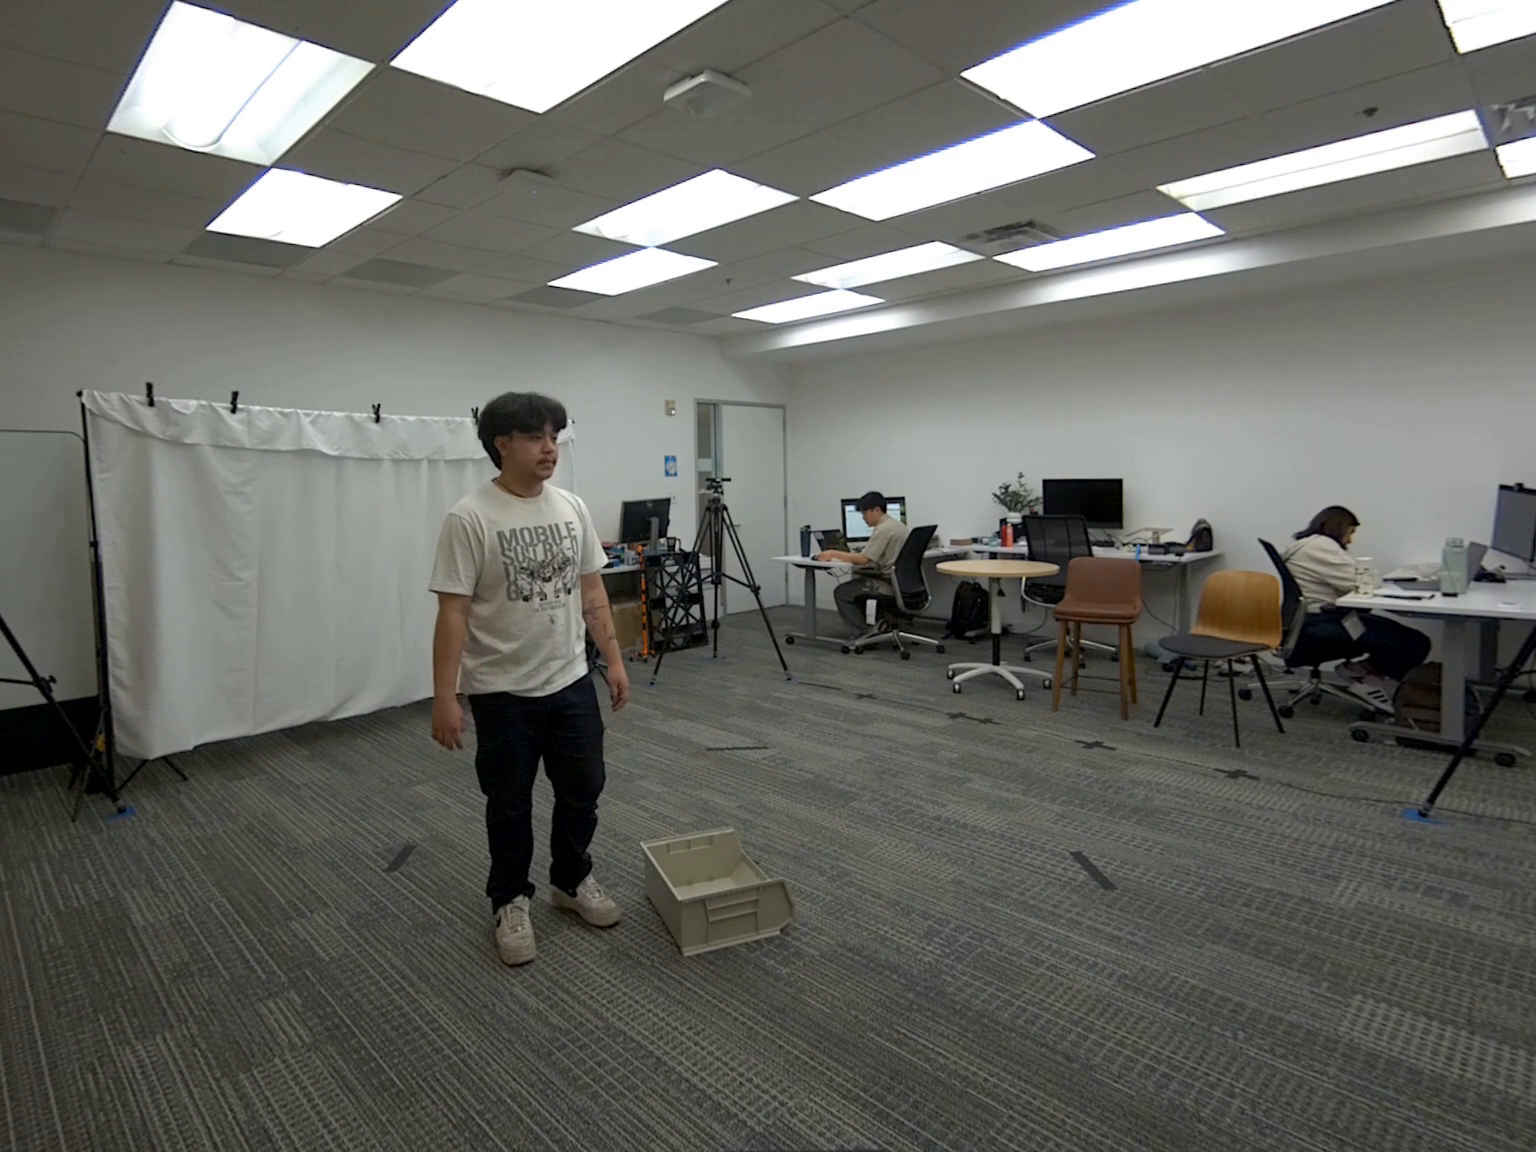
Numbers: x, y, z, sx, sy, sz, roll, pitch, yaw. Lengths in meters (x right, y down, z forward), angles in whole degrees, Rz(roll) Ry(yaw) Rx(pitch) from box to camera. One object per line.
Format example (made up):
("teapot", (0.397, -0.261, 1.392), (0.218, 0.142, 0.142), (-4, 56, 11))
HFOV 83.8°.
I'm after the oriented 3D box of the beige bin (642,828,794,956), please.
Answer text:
("beige bin", (-0.169, 0.997, 2.751), (0.370, 0.188, 0.433), (-4, 8, -23))
